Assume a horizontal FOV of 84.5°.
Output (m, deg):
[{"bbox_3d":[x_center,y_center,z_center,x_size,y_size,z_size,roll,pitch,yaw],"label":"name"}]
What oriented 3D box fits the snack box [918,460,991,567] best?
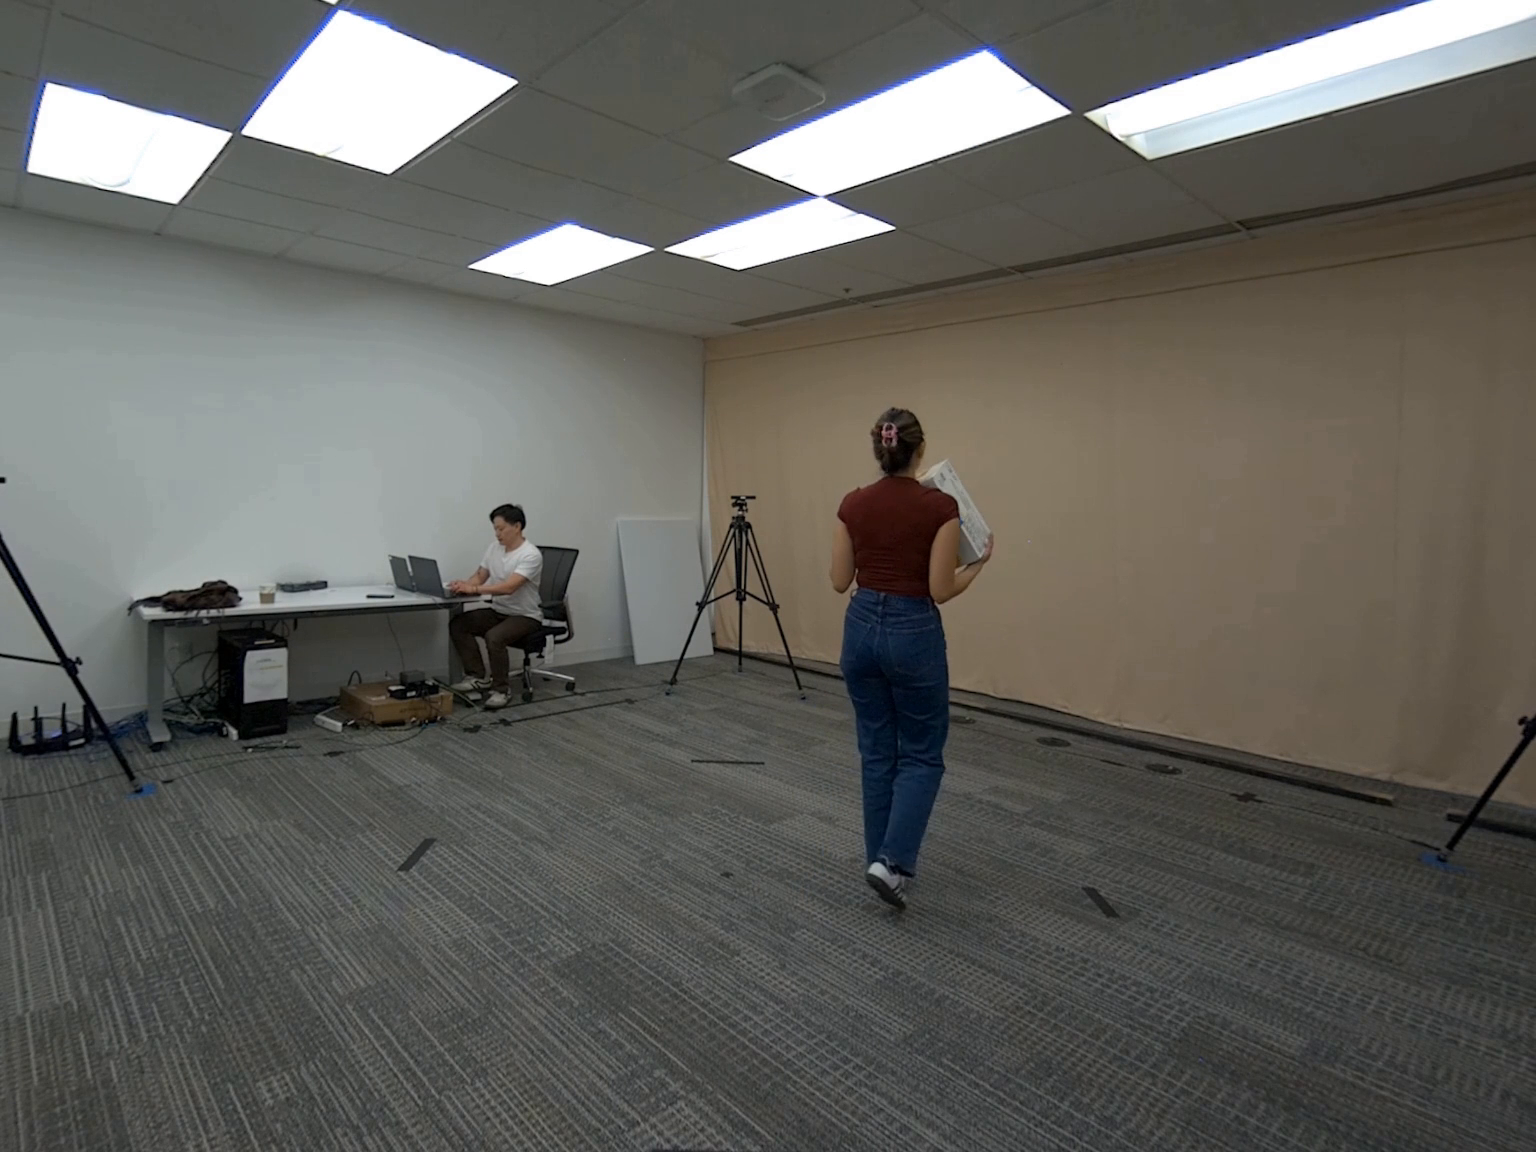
[{"bbox_3d":[0.536,-0.176,3.123,0.409,0.338,0.205,-27,8,36],"label":"snack box"}]
